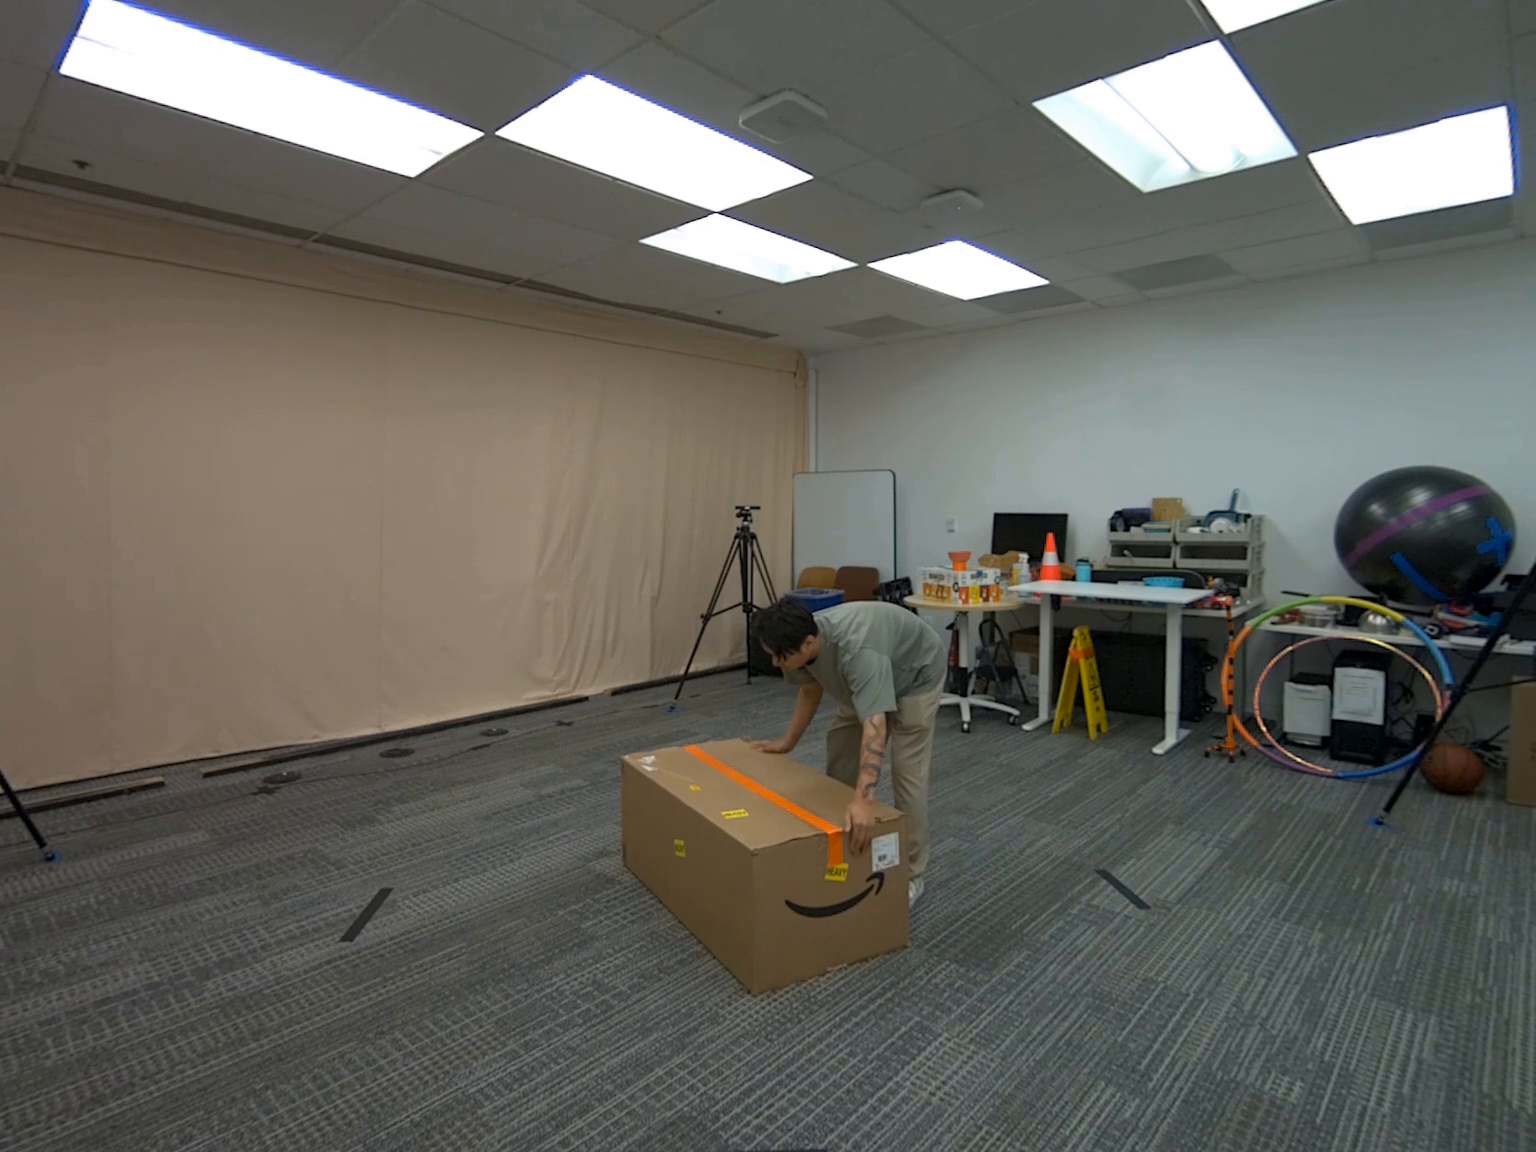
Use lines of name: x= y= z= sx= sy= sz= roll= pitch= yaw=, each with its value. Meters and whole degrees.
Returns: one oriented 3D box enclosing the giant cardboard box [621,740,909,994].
giant cardboard box: x=-0.064 y=0.928 z=2.958 sx=0.562 sy=0.425 sz=1.056 roll=-2 pitch=5 yaw=-30
